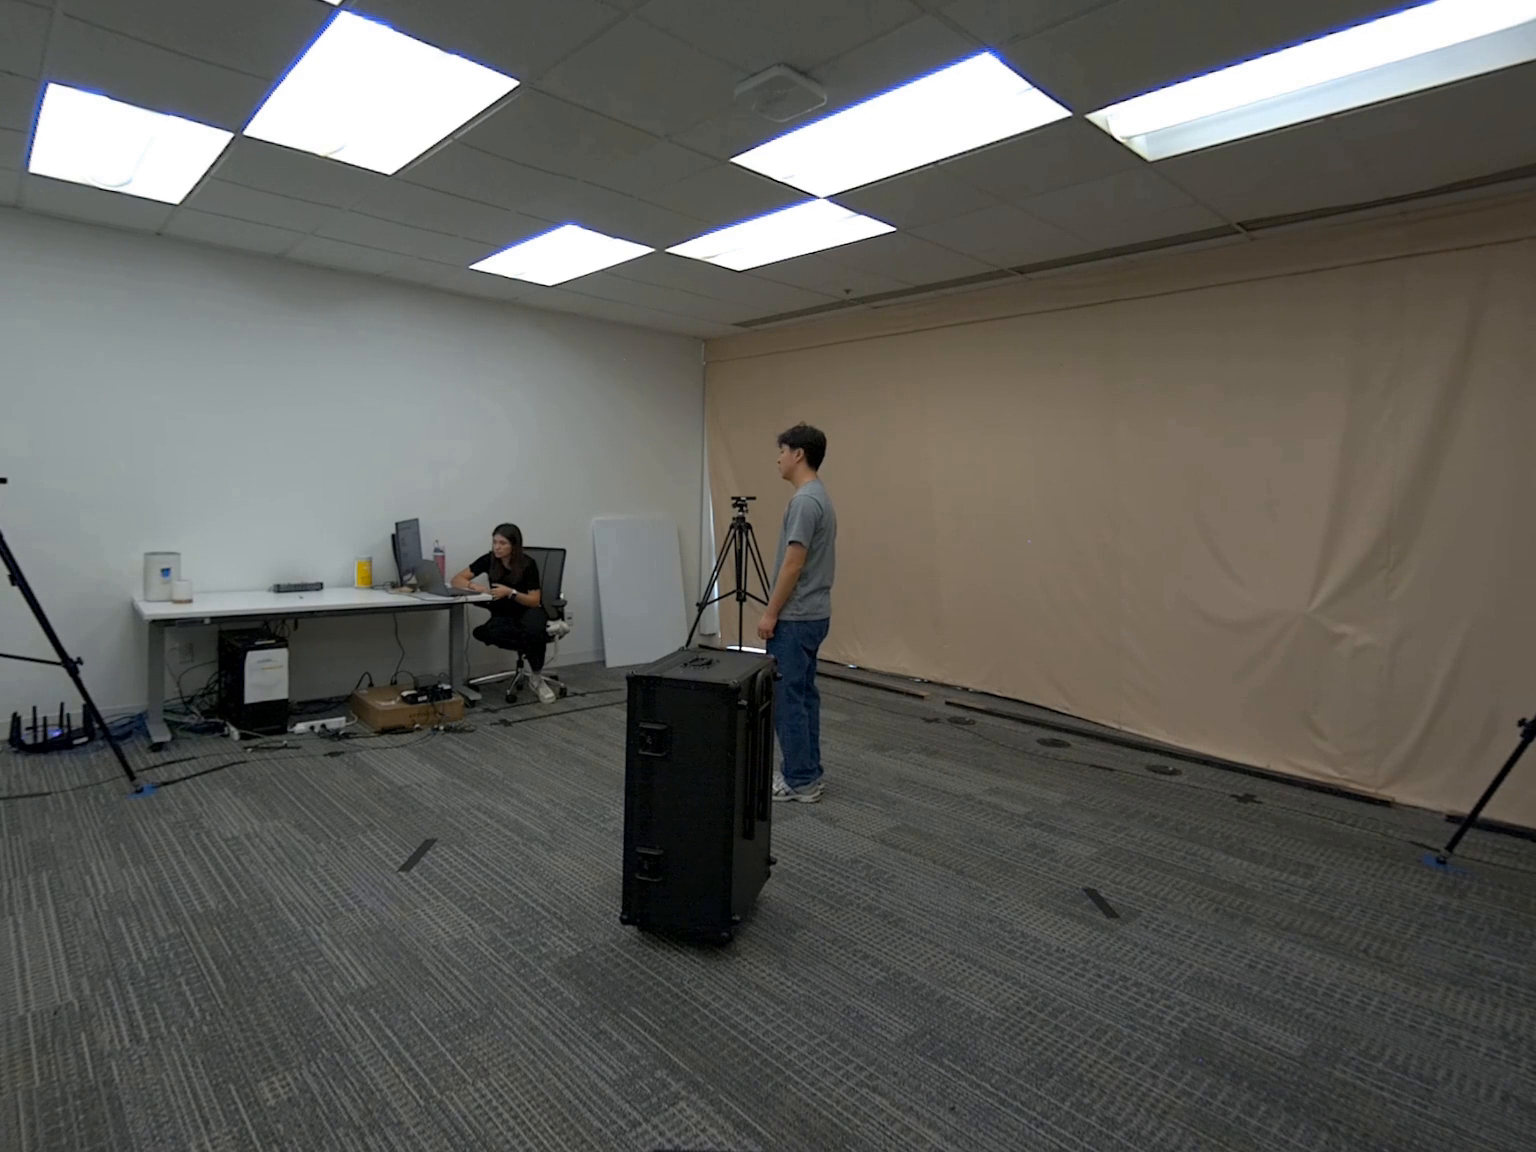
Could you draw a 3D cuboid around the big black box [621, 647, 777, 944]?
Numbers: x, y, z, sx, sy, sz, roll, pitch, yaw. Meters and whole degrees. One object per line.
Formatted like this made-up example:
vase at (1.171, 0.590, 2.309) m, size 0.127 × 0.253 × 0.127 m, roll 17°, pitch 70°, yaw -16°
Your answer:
big black box at (-0.208, 0.710, 2.753) m, size 0.402 × 0.859 × 0.515 m, roll 3°, pitch 4°, yaw 16°
